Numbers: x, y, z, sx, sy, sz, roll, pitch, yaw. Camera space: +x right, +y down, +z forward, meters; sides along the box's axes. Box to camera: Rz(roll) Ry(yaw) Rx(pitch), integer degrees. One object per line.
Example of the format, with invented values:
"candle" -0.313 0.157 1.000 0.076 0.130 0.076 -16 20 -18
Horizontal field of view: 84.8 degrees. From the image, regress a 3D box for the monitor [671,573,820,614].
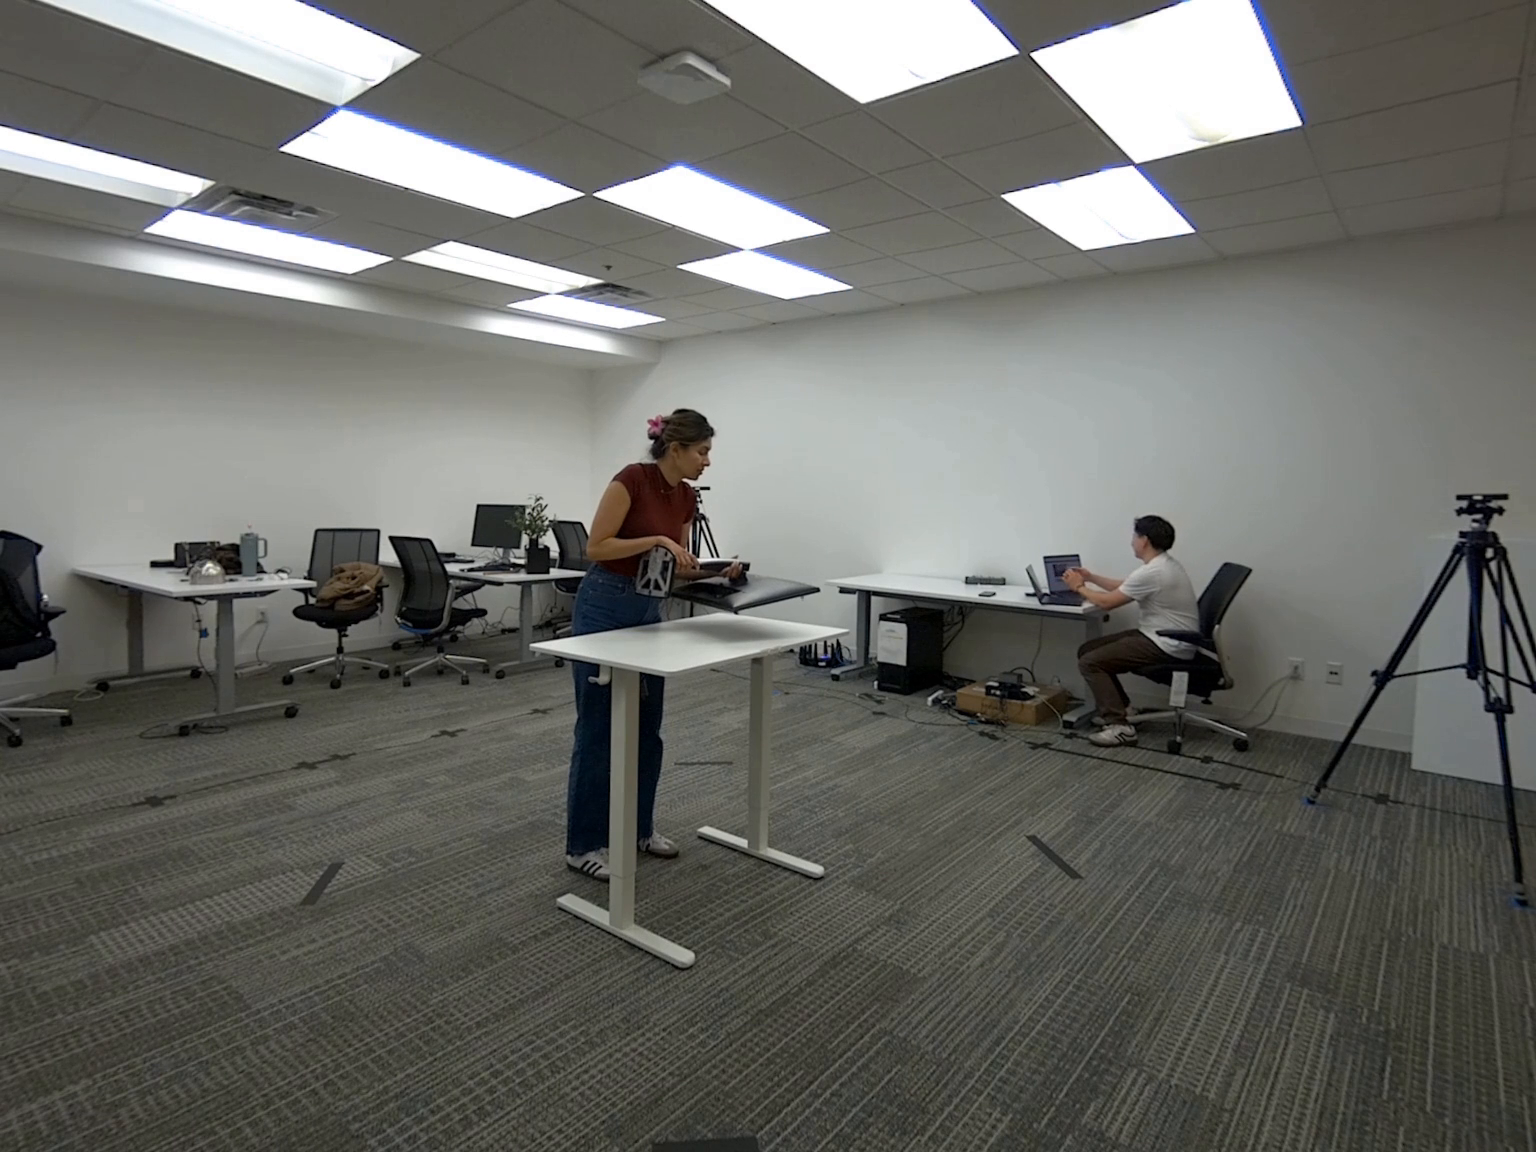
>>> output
"monitor" -0.190 -0.002 3.030 0.507 0.187 0.556 3 4 -31
